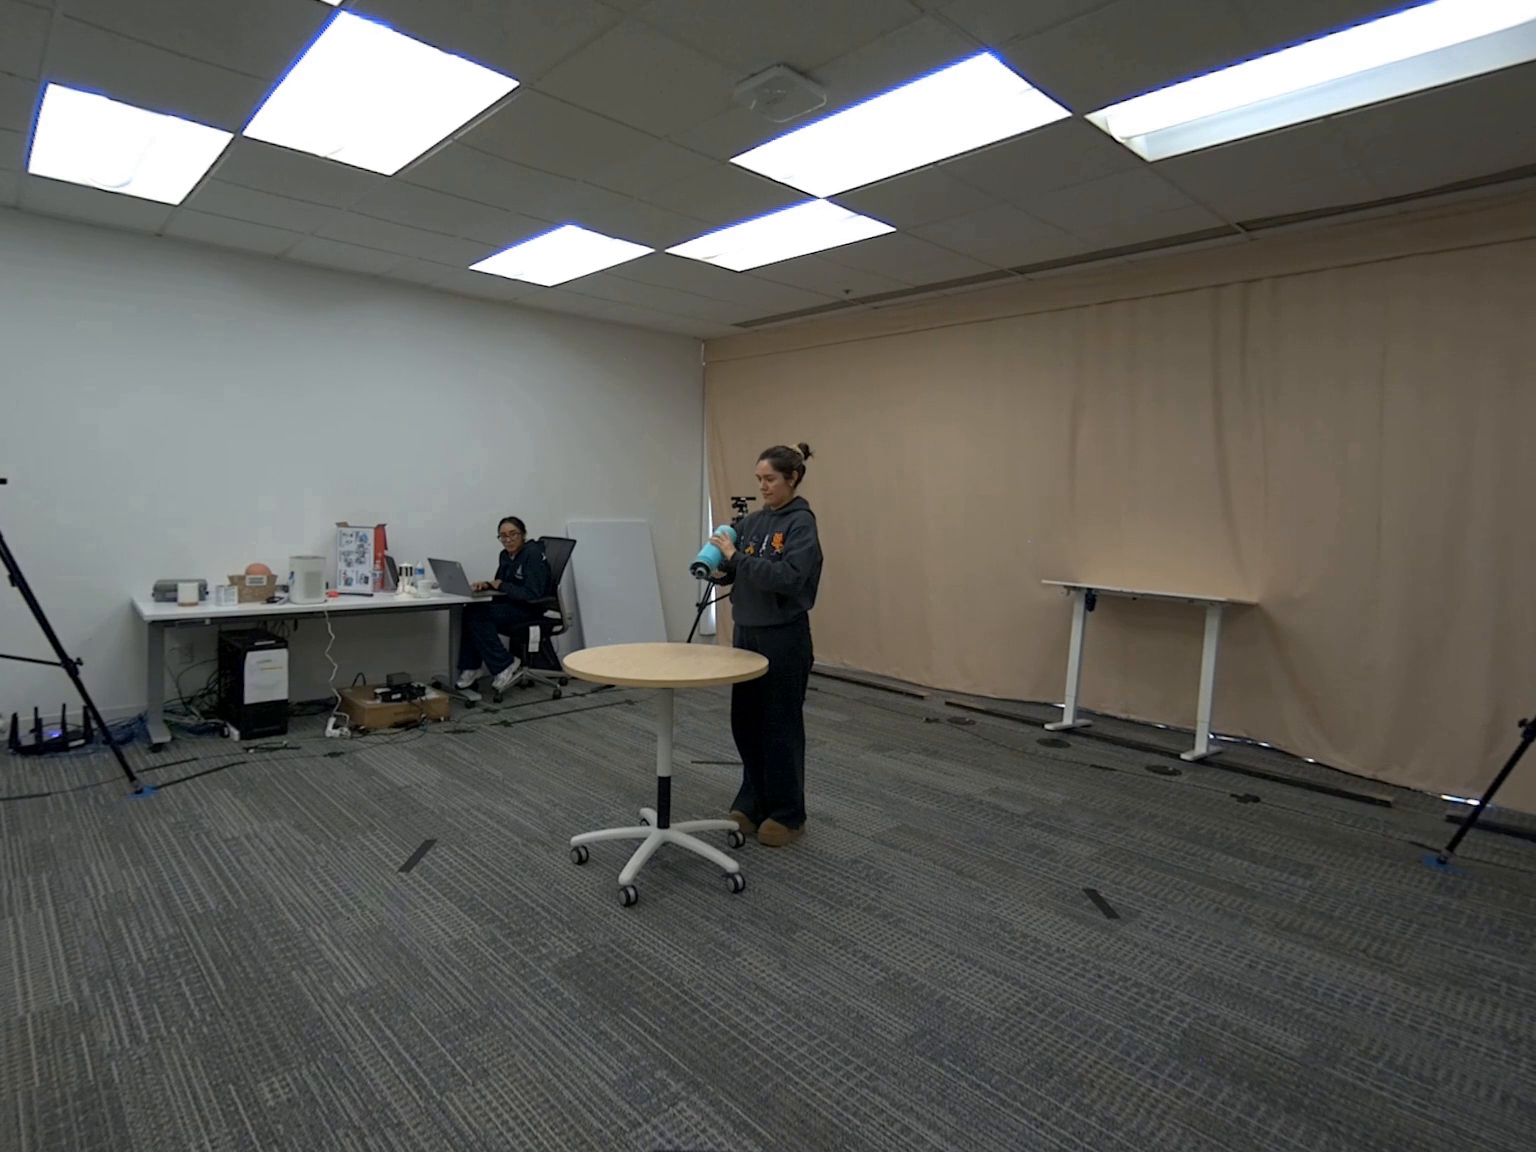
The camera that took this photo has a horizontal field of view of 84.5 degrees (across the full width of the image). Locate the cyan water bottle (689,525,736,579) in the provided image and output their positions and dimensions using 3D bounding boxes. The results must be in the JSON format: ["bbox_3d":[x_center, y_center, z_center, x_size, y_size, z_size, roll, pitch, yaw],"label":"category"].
[{"bbox_3d":[-0.225,-0.087,3.332,0.094,0.090,0.285,3,38,26],"label":"cyan water bottle"}]
